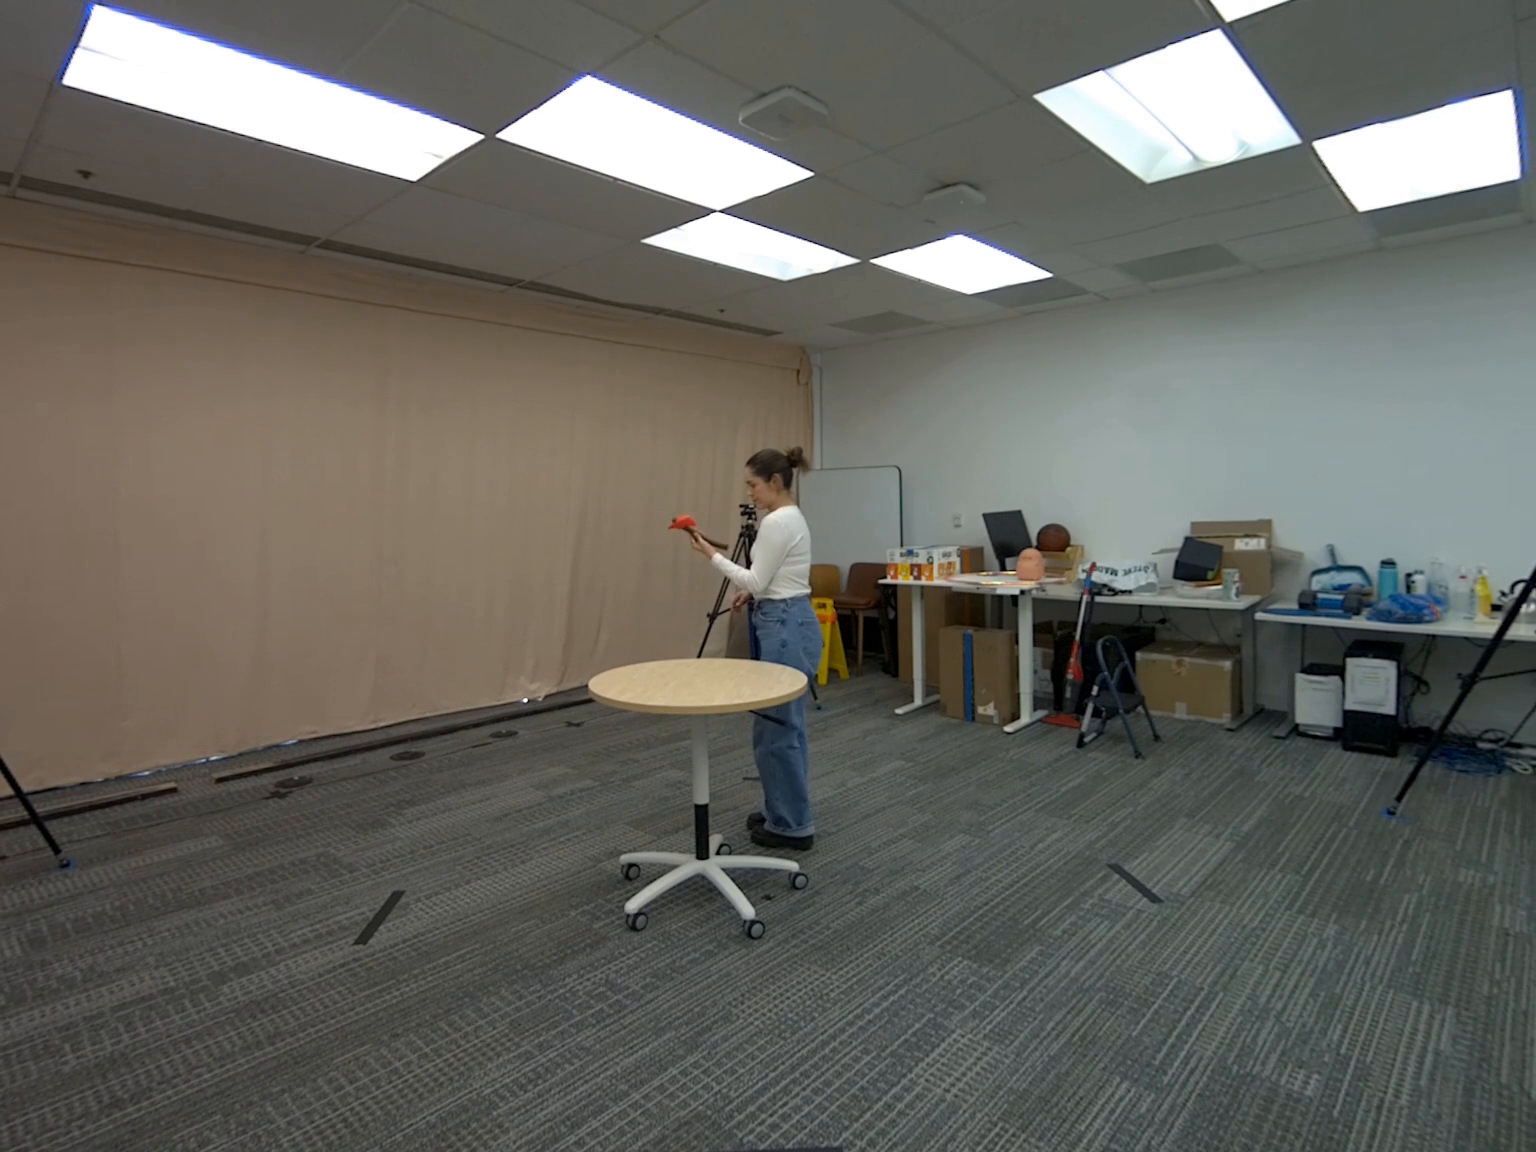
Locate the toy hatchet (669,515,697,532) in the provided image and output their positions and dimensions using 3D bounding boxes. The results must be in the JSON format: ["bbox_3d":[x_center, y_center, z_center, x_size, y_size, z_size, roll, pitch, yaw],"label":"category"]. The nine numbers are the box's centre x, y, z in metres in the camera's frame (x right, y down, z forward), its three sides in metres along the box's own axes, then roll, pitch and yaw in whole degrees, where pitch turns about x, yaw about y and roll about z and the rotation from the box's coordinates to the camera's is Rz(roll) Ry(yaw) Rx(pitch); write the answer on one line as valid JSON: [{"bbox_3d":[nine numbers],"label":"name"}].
[{"bbox_3d":[-0.258,-0.183,3.436,0.266,0.030,0.131,19,-35,-13],"label":"toy hatchet"}]
